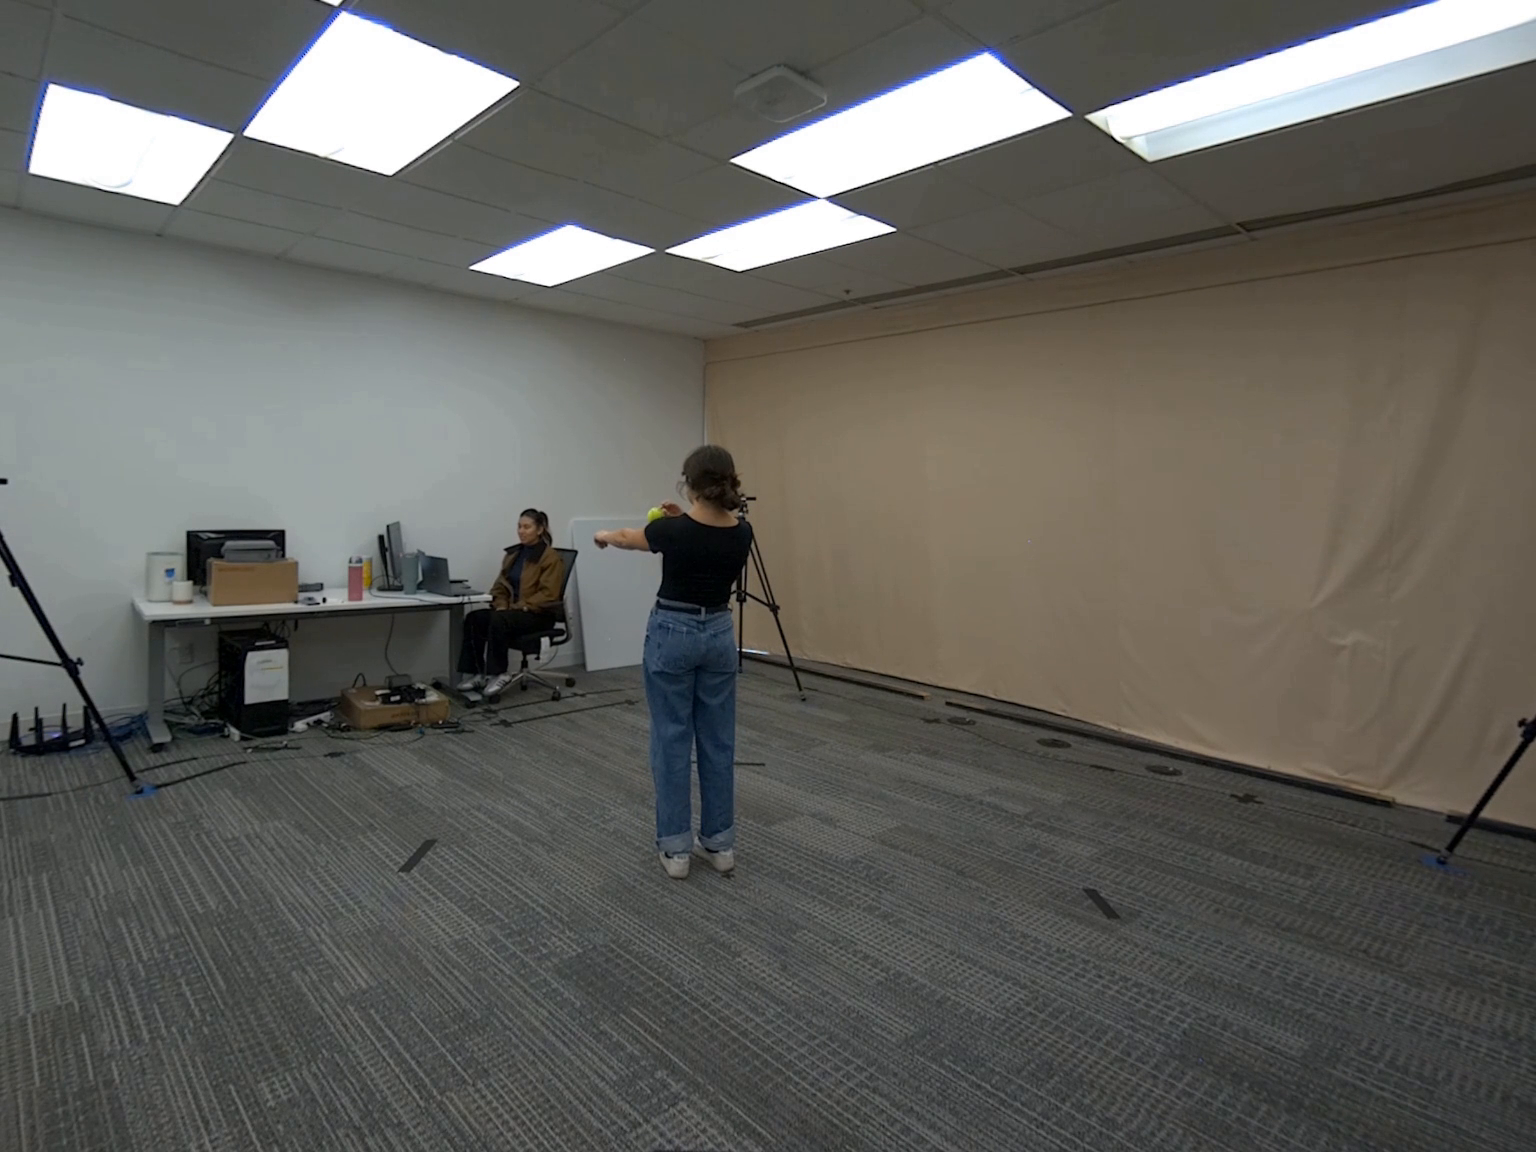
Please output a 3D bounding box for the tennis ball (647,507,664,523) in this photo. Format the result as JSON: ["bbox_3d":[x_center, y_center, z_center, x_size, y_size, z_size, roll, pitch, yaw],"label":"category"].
[{"bbox_3d":[-0.410,-0.218,3.131,0.066,0.066,0.067,1,4,-1],"label":"tennis ball"}]
